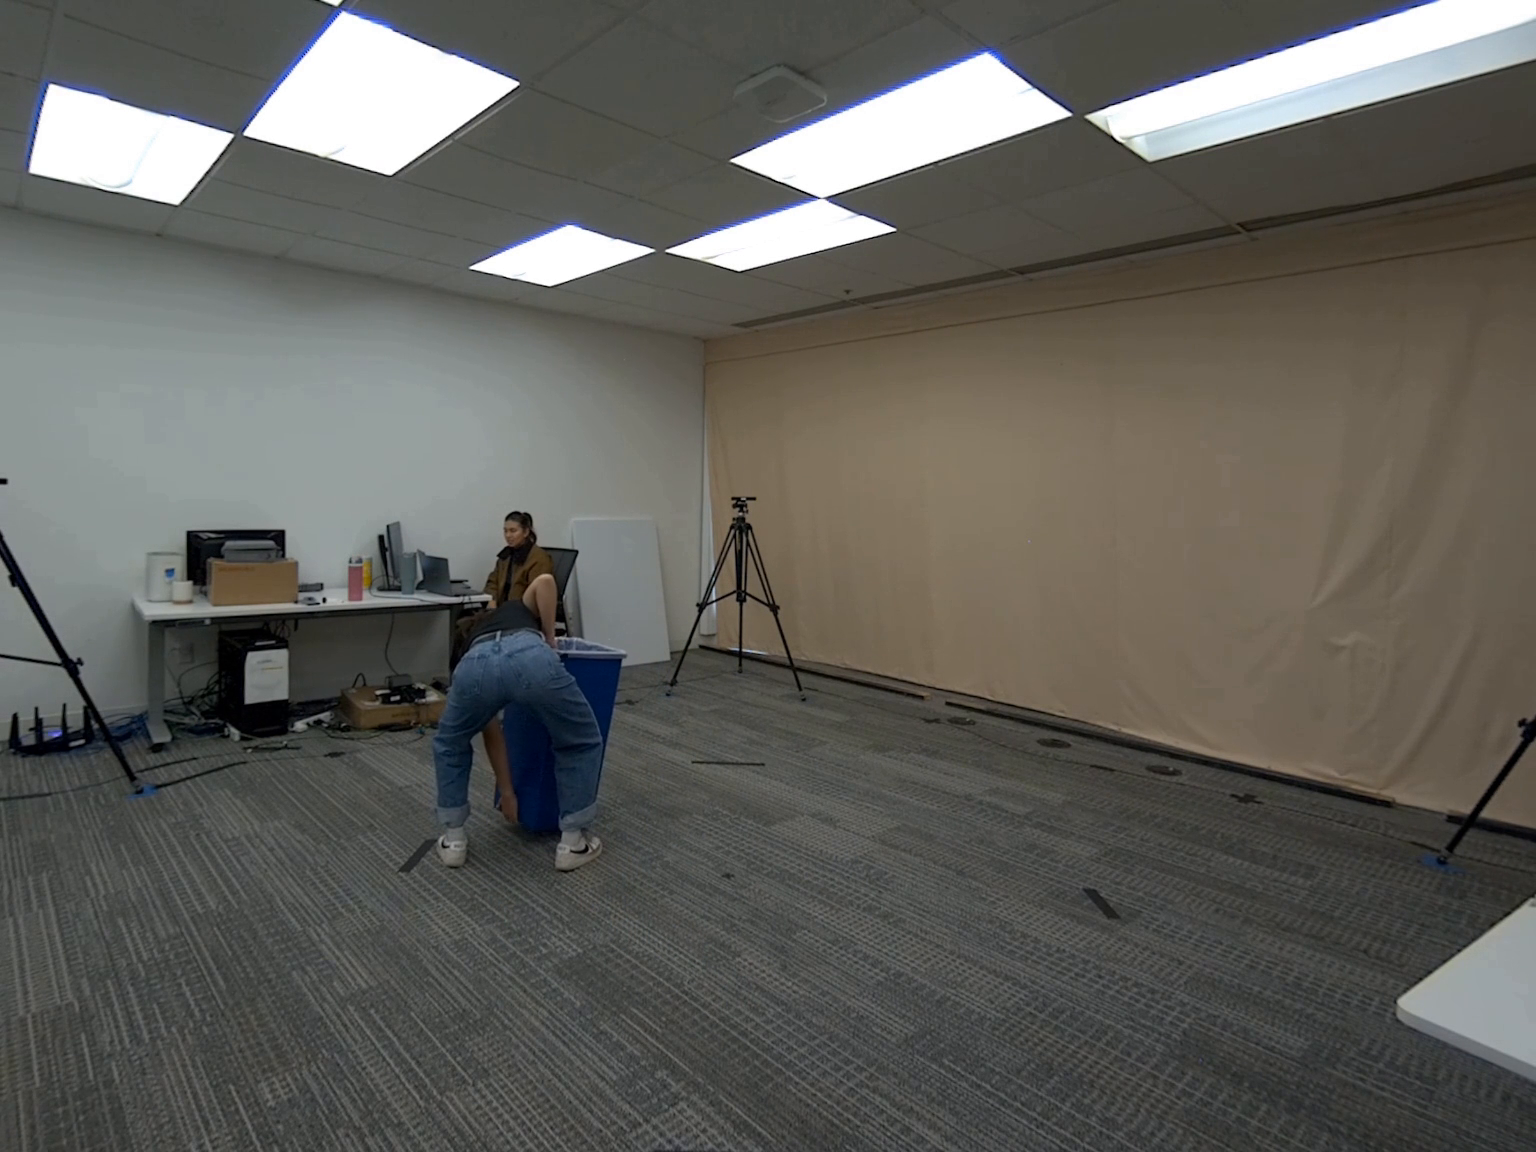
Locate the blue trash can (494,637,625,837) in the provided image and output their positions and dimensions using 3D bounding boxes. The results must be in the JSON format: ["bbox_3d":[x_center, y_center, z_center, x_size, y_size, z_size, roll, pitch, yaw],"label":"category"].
[{"bbox_3d":[-0.892,0.639,3.535,0.364,0.714,0.388,9,0,-45],"label":"blue trash can"}]
